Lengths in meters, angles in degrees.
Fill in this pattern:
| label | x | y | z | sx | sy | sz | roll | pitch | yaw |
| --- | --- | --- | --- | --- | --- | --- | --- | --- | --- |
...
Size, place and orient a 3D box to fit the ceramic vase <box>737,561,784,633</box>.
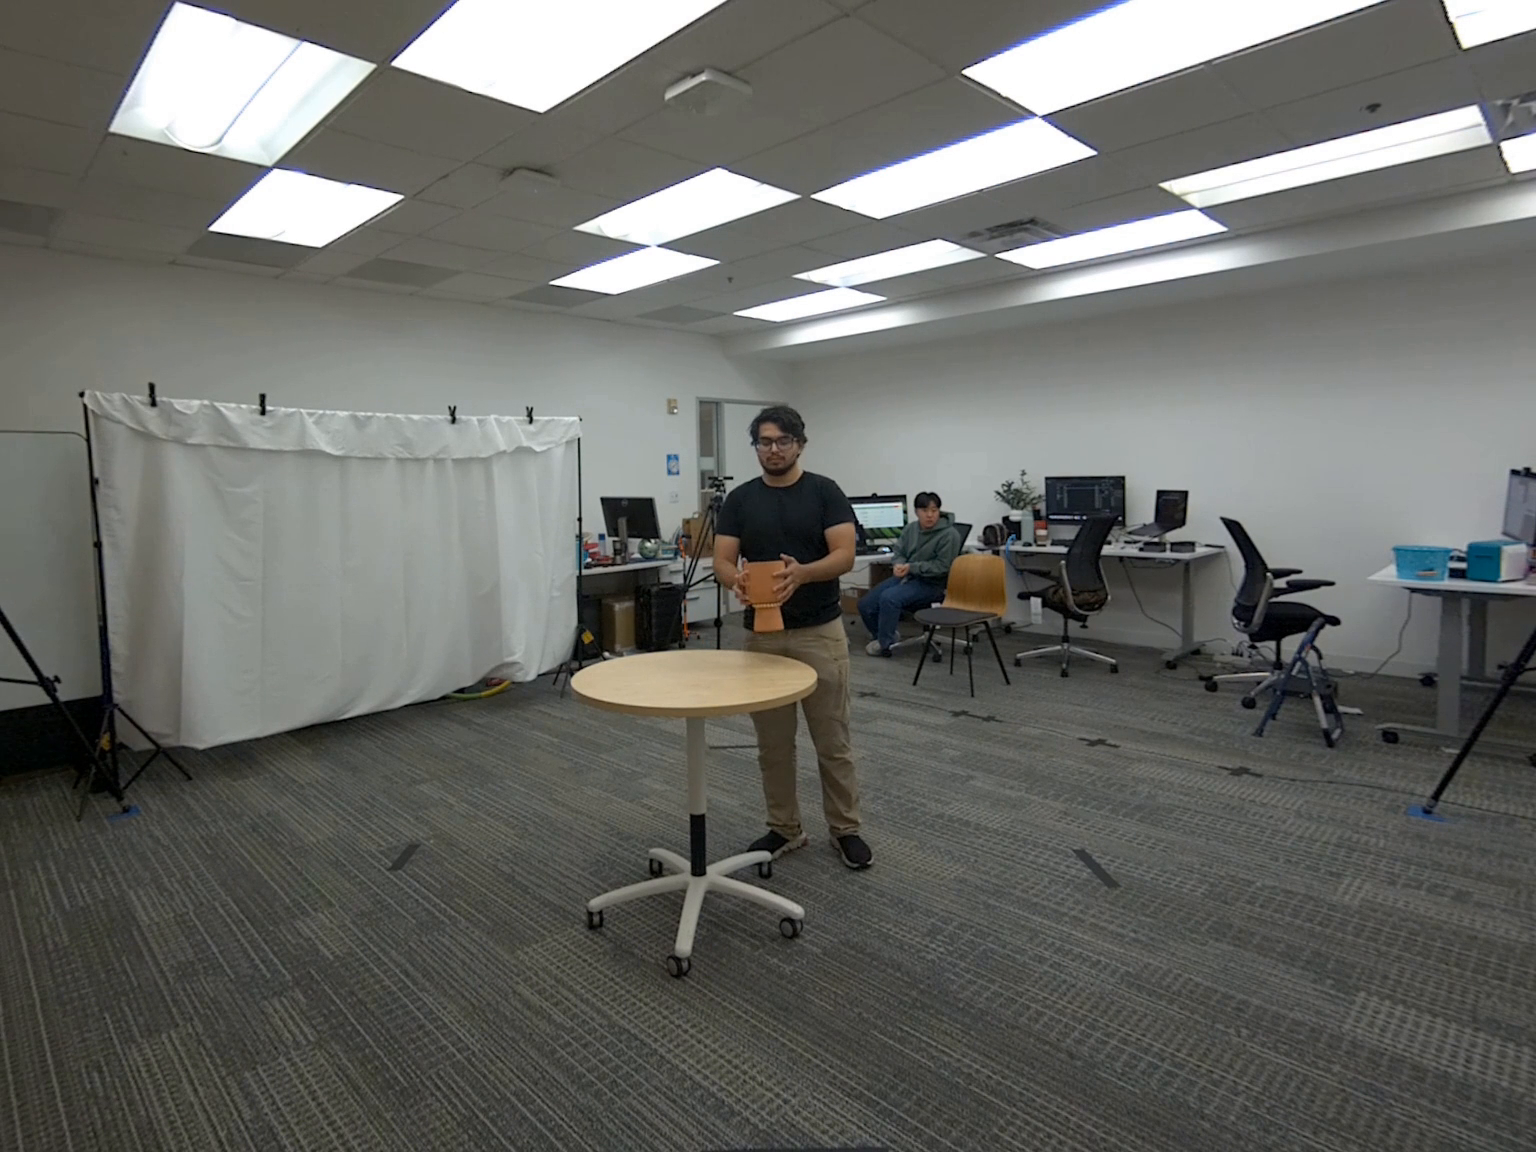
| label | x | y | z | sx | sy | sz | roll | pitch | yaw |
| --- | --- | --- | --- | --- | --- | --- | --- | --- | --- |
| ceramic vase | -0.002 | 0.067 | 2.774 | 0.160 | 0.220 | 0.134 | -5 | 1 | 5 |
